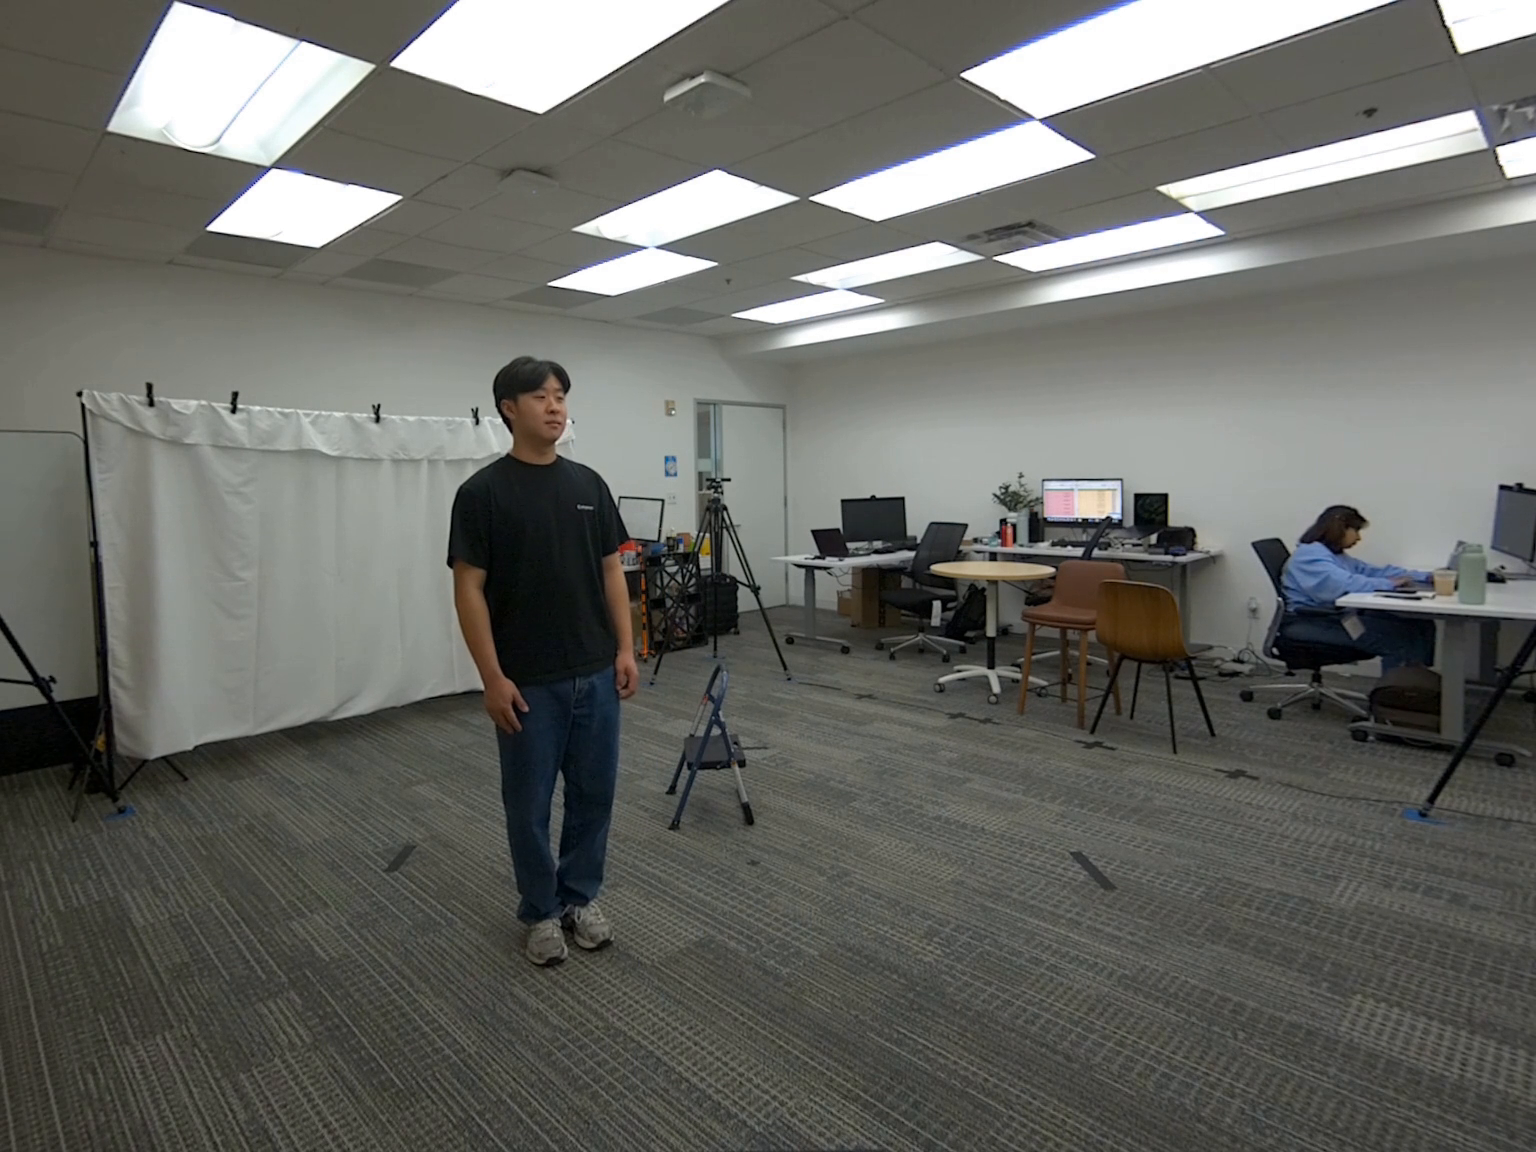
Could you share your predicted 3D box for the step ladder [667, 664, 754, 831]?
[{"bbox_3d":[-0.254,0.689,3.616,0.347,0.604,0.435,-2,4,-8],"label":"step ladder"}]
